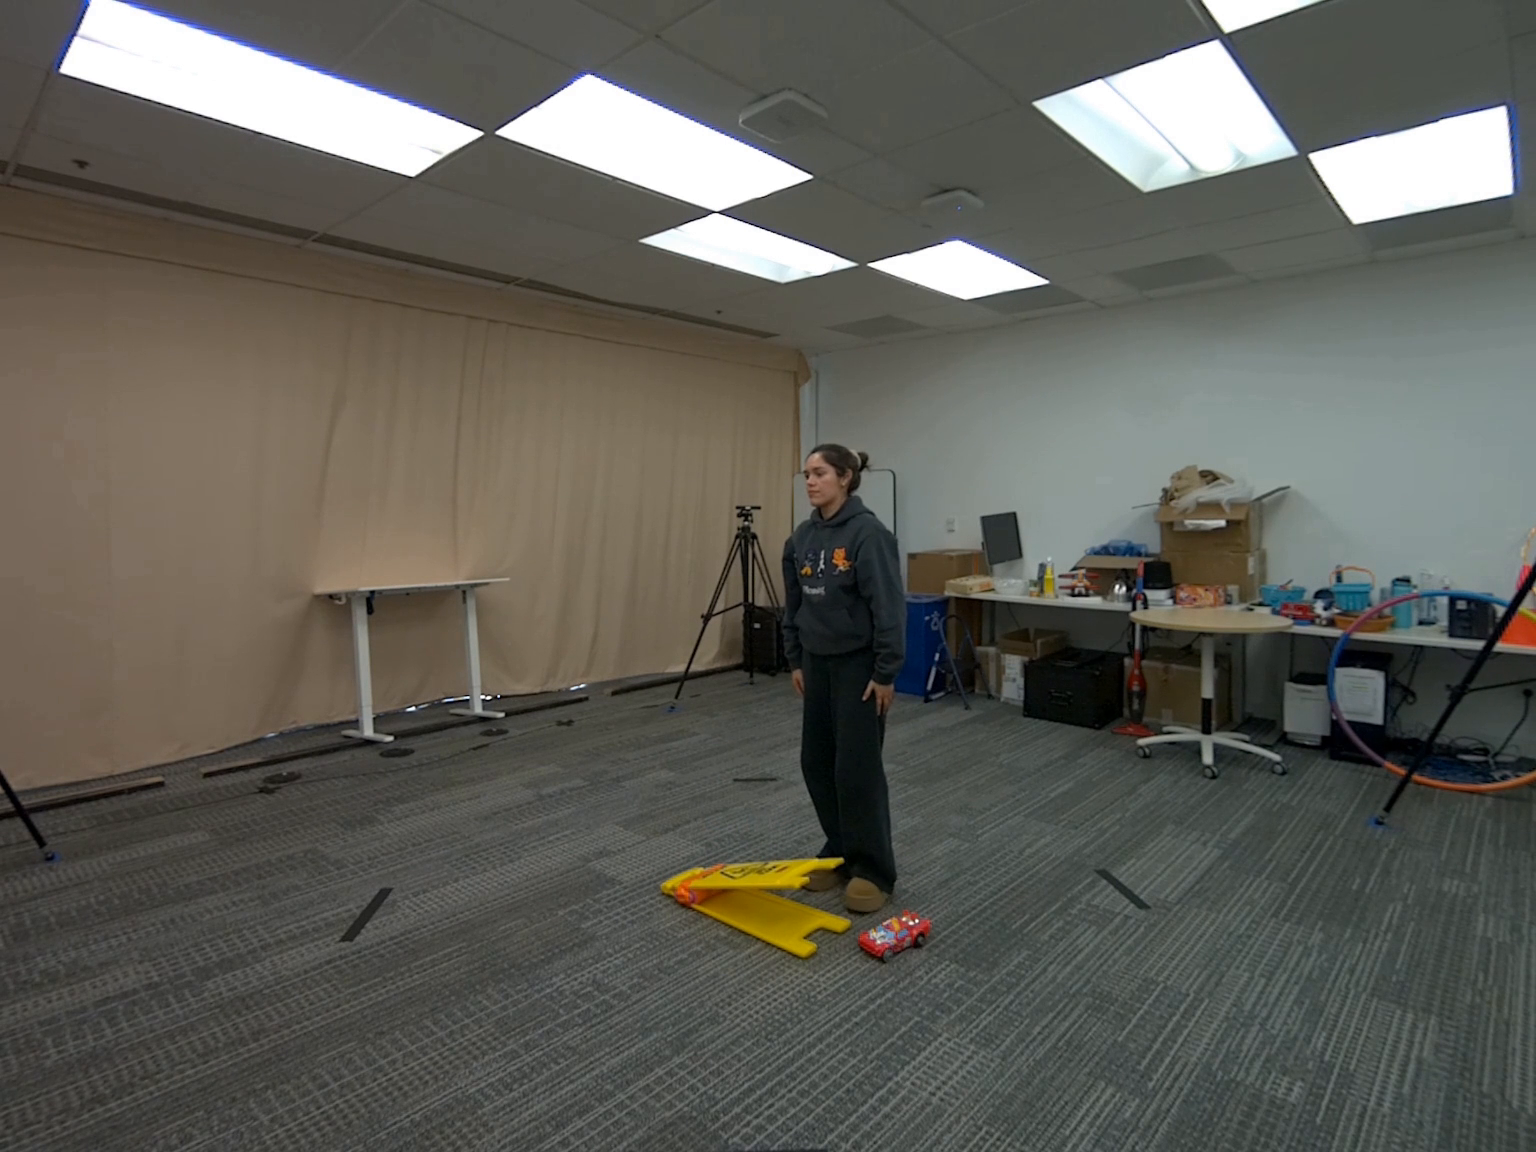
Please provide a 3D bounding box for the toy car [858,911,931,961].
[{"bbox_3d":[0.423,1.127,2.659,0.248,0.082,0.134,-15,13,-33],"label":"toy car"}]
